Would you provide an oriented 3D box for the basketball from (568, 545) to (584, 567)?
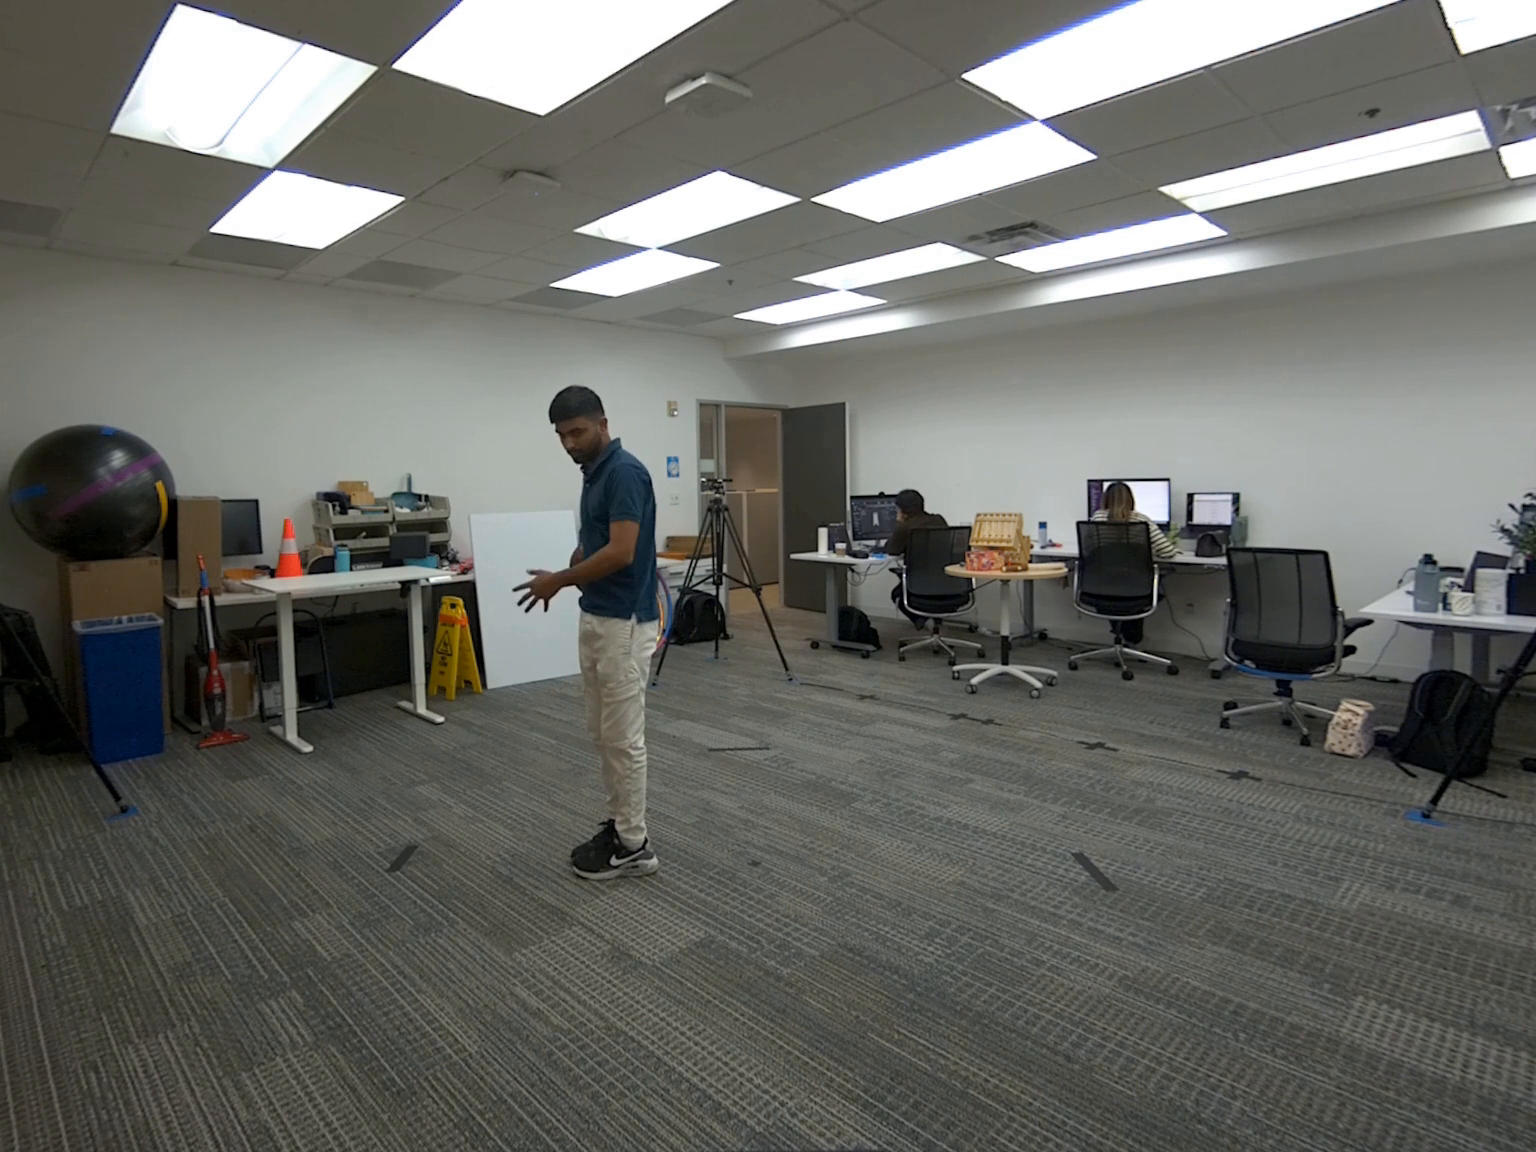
[{"bbox_3d":[-0.653,-0.036,3.323,0.236,0.235,0.237,-1,5,-2],"label":"basketball"}]
